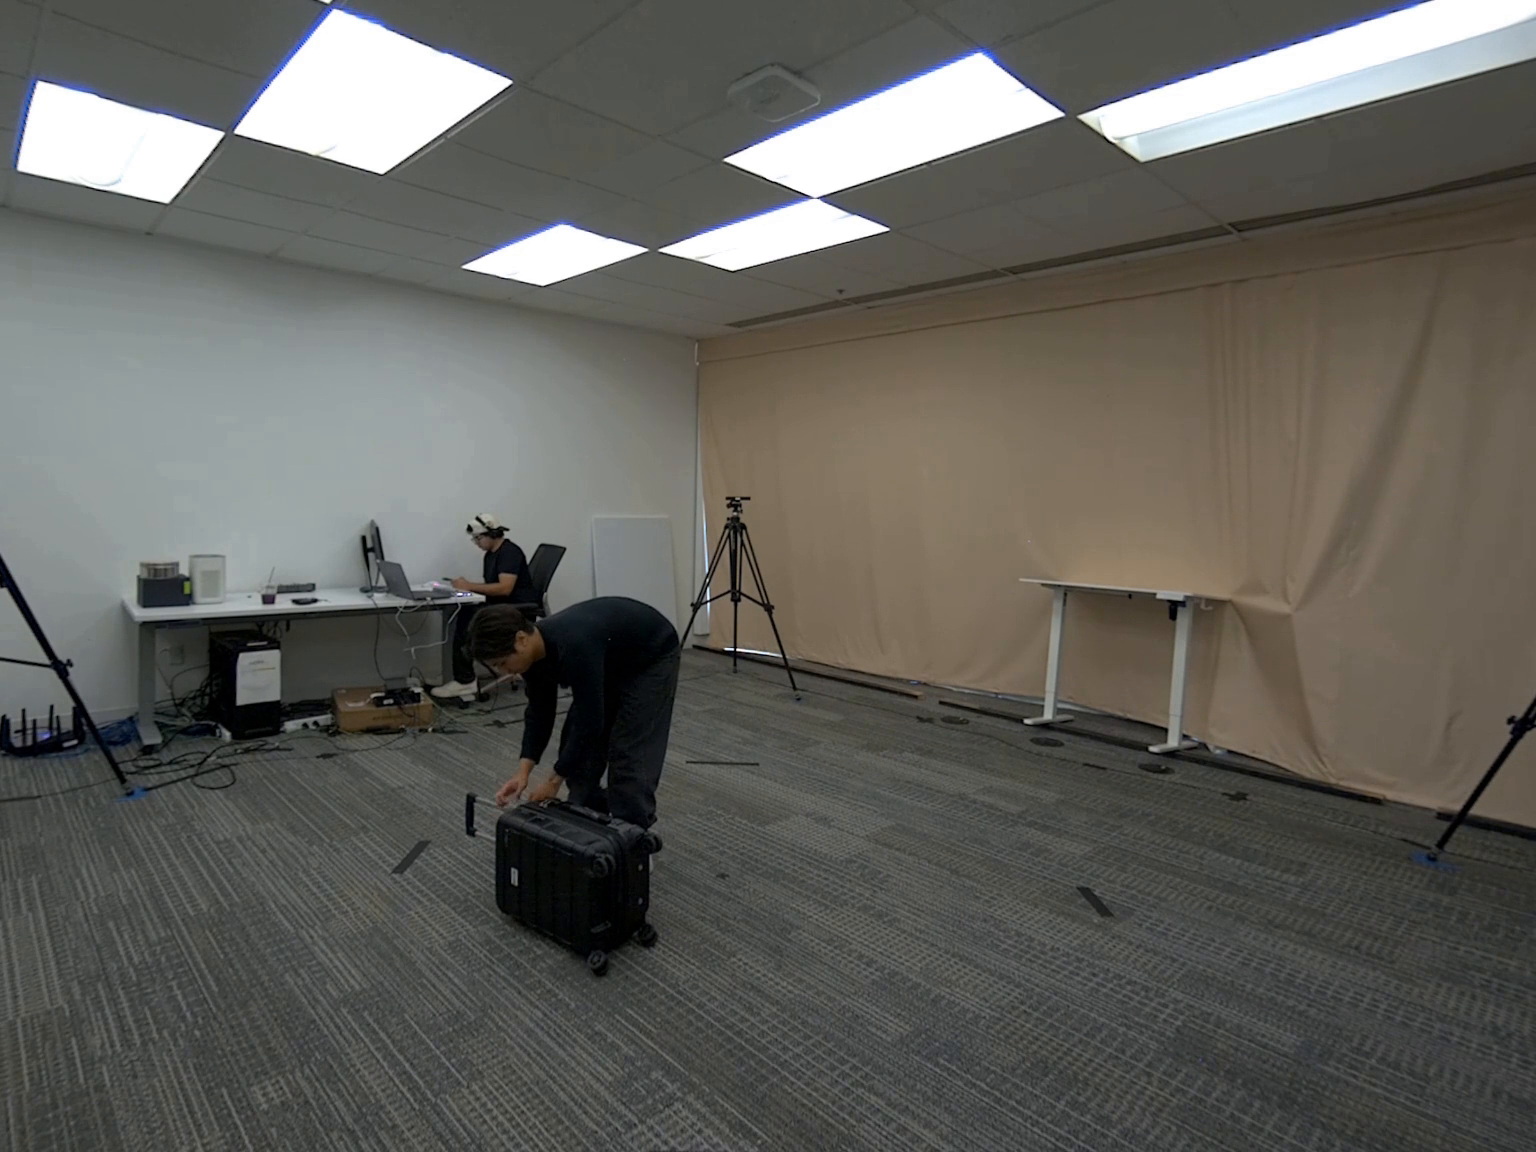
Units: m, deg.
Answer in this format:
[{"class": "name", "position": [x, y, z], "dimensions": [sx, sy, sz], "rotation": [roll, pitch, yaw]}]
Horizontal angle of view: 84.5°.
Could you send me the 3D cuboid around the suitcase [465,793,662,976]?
[{"class": "suitcase", "position": [-0.799, 0.938, 2.804], "dimensions": [1.003, 0.383, 0.251], "rotation": [5, 5, 37]}]
